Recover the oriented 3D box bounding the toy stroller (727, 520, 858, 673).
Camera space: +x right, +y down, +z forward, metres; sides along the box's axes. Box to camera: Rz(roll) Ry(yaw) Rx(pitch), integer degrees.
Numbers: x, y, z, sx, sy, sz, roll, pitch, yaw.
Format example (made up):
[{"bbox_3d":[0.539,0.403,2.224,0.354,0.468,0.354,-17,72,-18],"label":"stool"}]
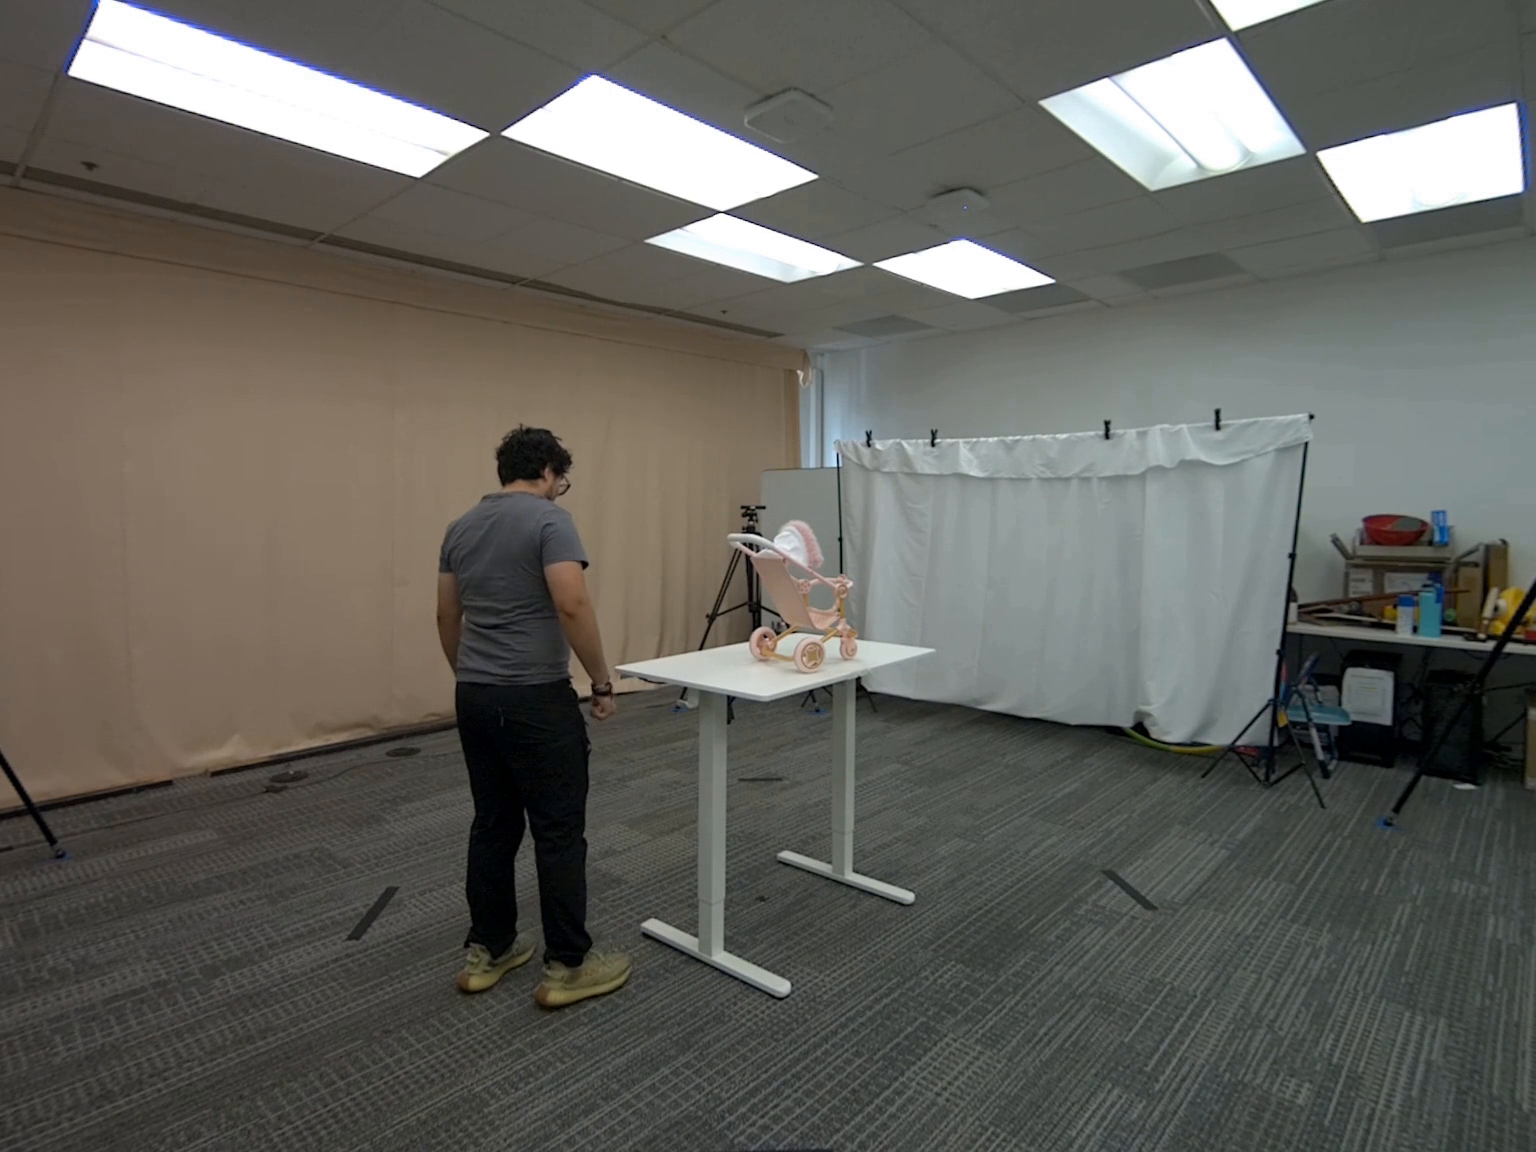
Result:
[{"bbox_3d":[0.113,0.065,2.678,0.335,0.530,0.289,-20,11,-26],"label":"toy stroller"}]
